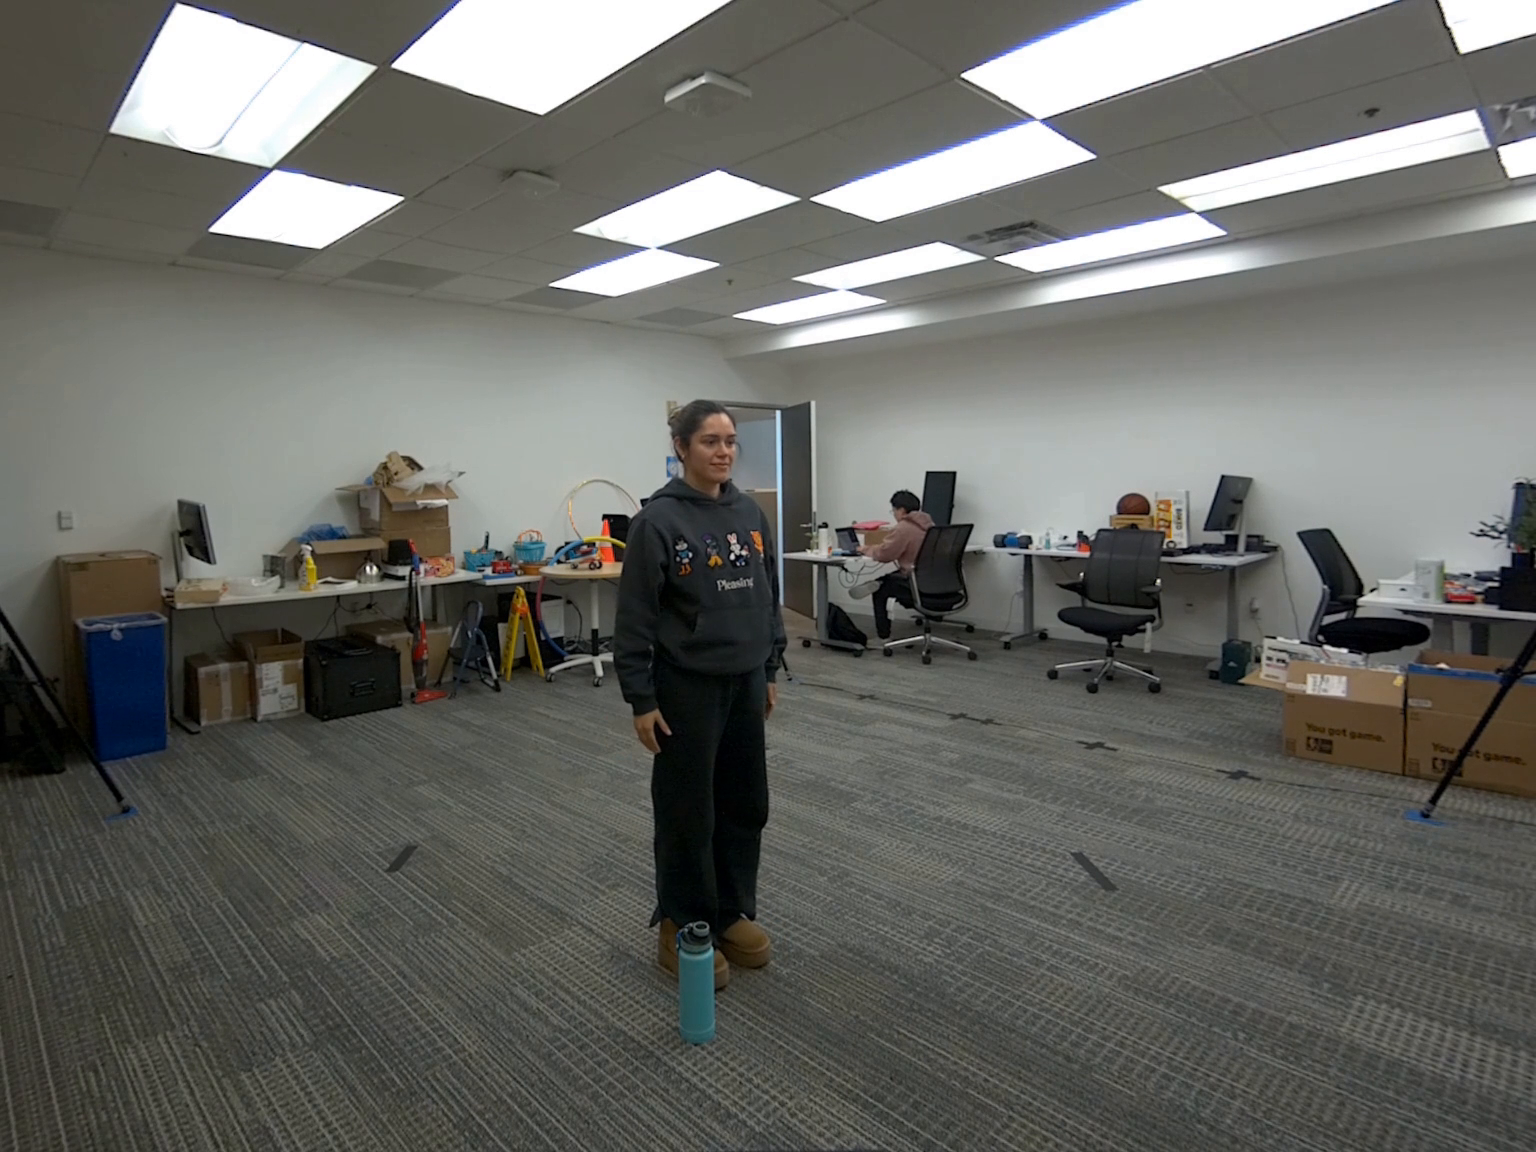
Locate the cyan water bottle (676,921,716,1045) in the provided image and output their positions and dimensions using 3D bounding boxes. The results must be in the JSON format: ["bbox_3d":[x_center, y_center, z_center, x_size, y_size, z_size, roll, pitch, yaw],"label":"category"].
[{"bbox_3d":[-0.180,1.020,2.141,0.092,0.282,0.092,-4,3,-1],"label":"cyan water bottle"}]
